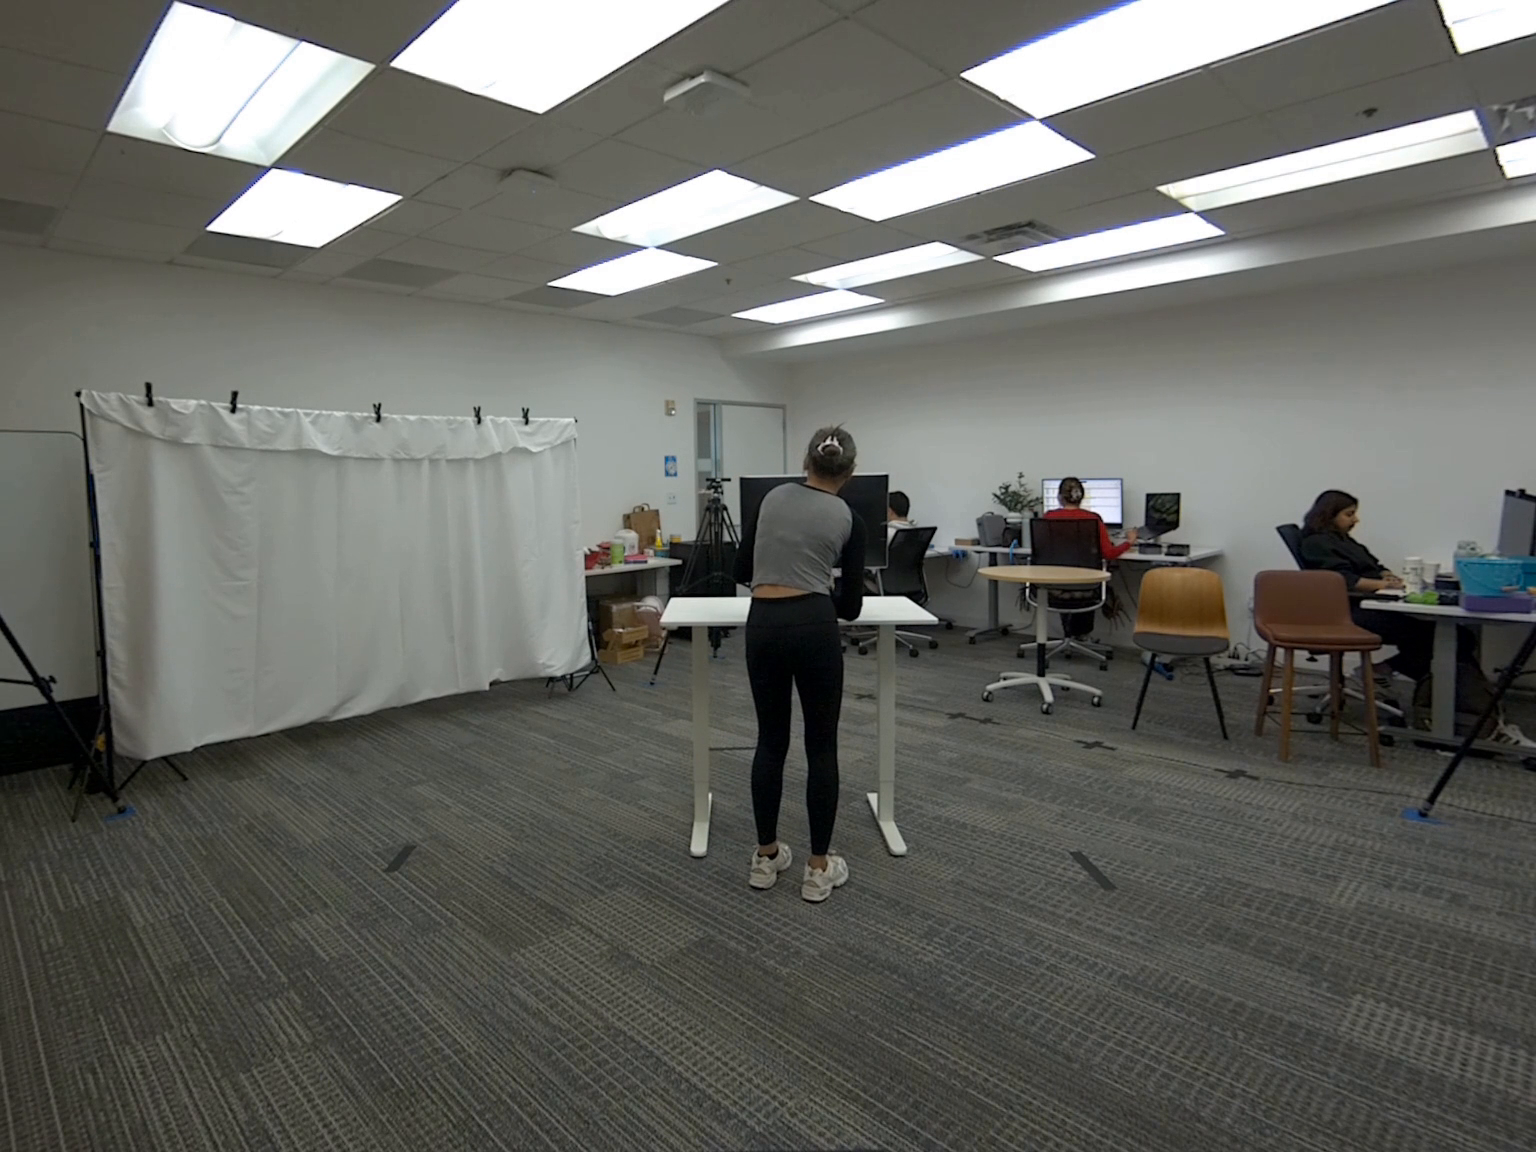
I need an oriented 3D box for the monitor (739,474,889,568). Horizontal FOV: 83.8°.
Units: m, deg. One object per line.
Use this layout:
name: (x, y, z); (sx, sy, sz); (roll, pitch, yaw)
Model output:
monitor: (0.171, -0.113, 3.196); (0.540, 0.521, 0.187); (0, 2, 1)
